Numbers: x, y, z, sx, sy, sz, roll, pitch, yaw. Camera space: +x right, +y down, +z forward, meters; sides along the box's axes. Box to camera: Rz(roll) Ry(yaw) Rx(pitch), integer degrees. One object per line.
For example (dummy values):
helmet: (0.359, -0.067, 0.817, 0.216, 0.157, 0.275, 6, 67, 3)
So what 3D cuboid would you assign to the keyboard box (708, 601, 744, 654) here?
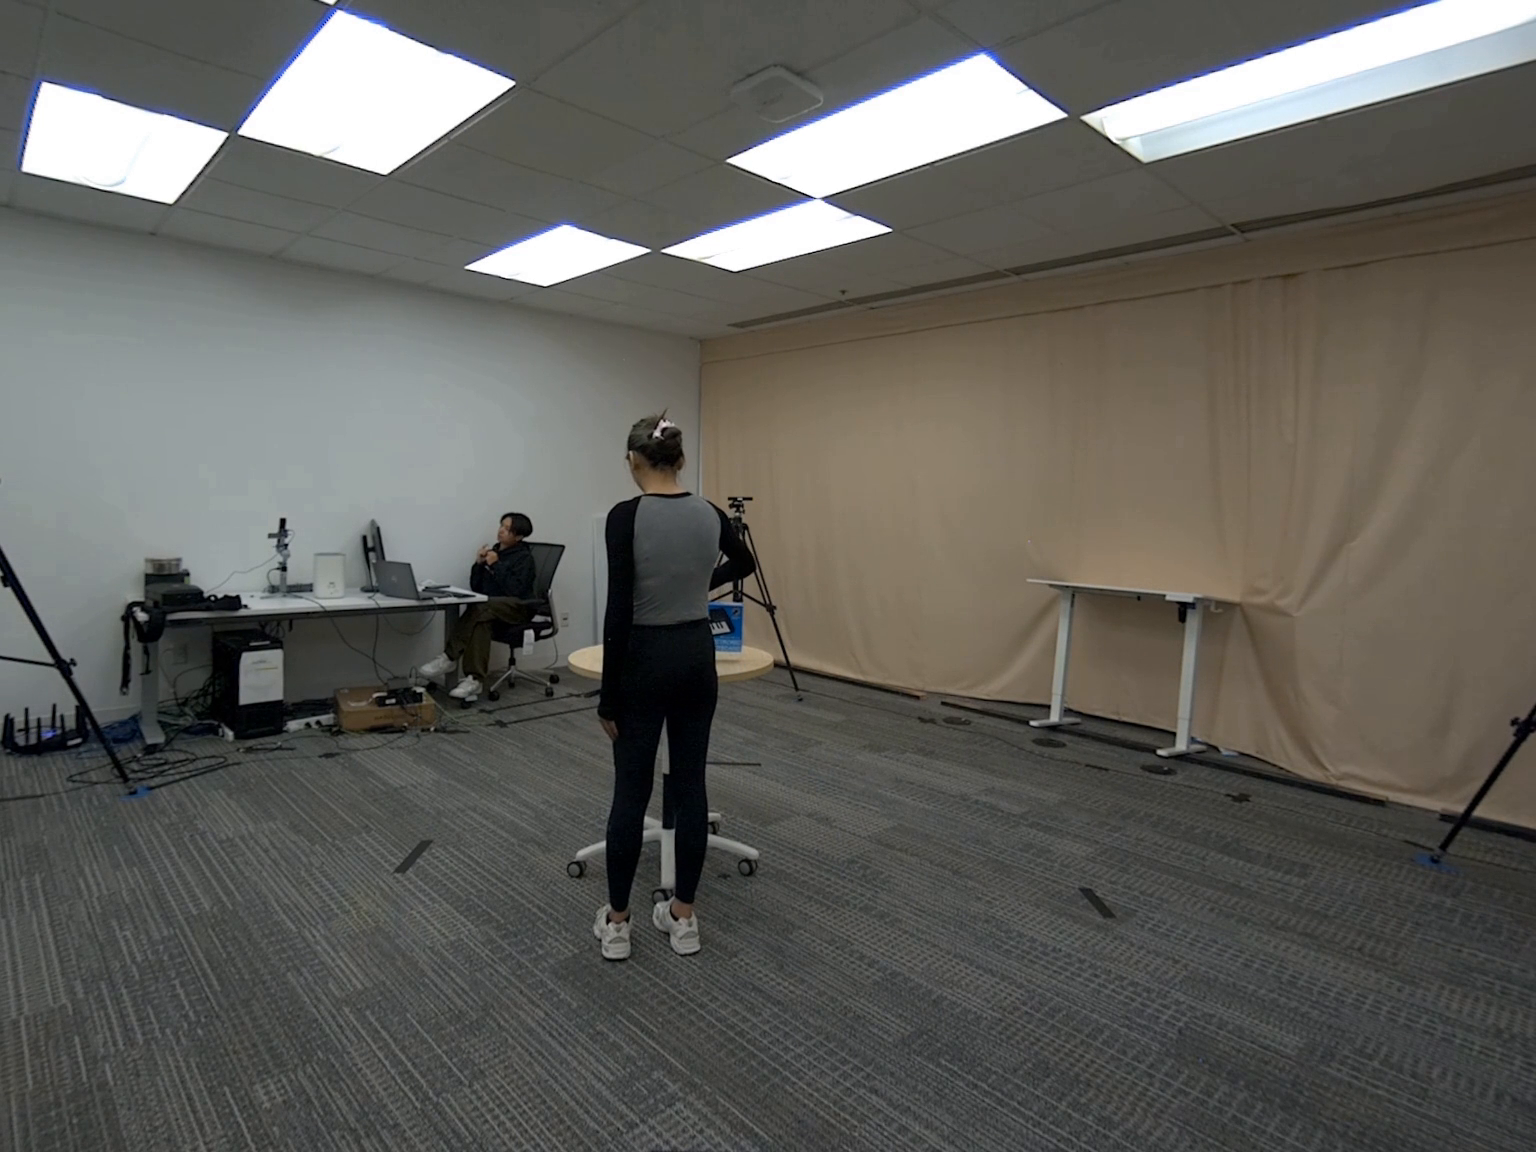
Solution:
keyboard box: (-0.314, 0.183, 3.071, 0.436, 0.175, 0.059, 2, 3, -1)
